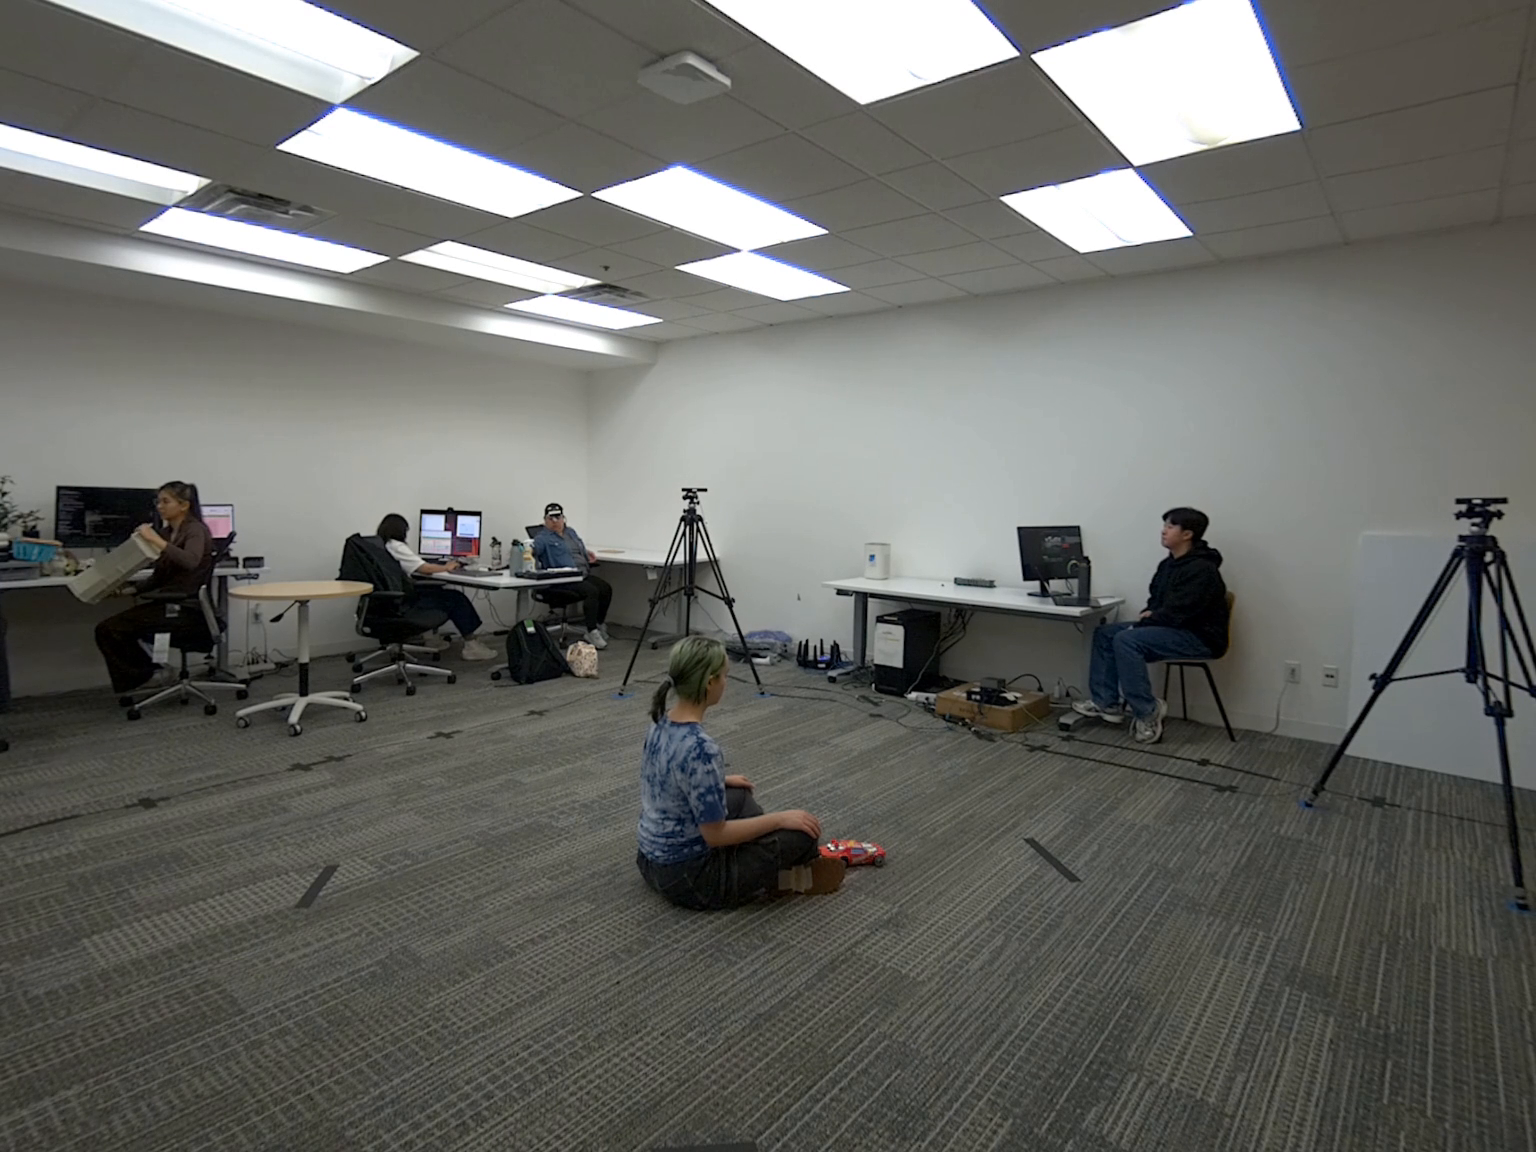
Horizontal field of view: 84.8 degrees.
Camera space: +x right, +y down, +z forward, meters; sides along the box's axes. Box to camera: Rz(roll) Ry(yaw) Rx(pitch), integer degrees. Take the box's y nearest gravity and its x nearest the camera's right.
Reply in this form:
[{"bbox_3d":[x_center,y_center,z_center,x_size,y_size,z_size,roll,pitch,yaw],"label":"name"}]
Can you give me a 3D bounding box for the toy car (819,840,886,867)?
[{"bbox_3d":[0.302,1.043,3.187,0.250,0.083,0.133,12,3,-15],"label":"toy car"}]
